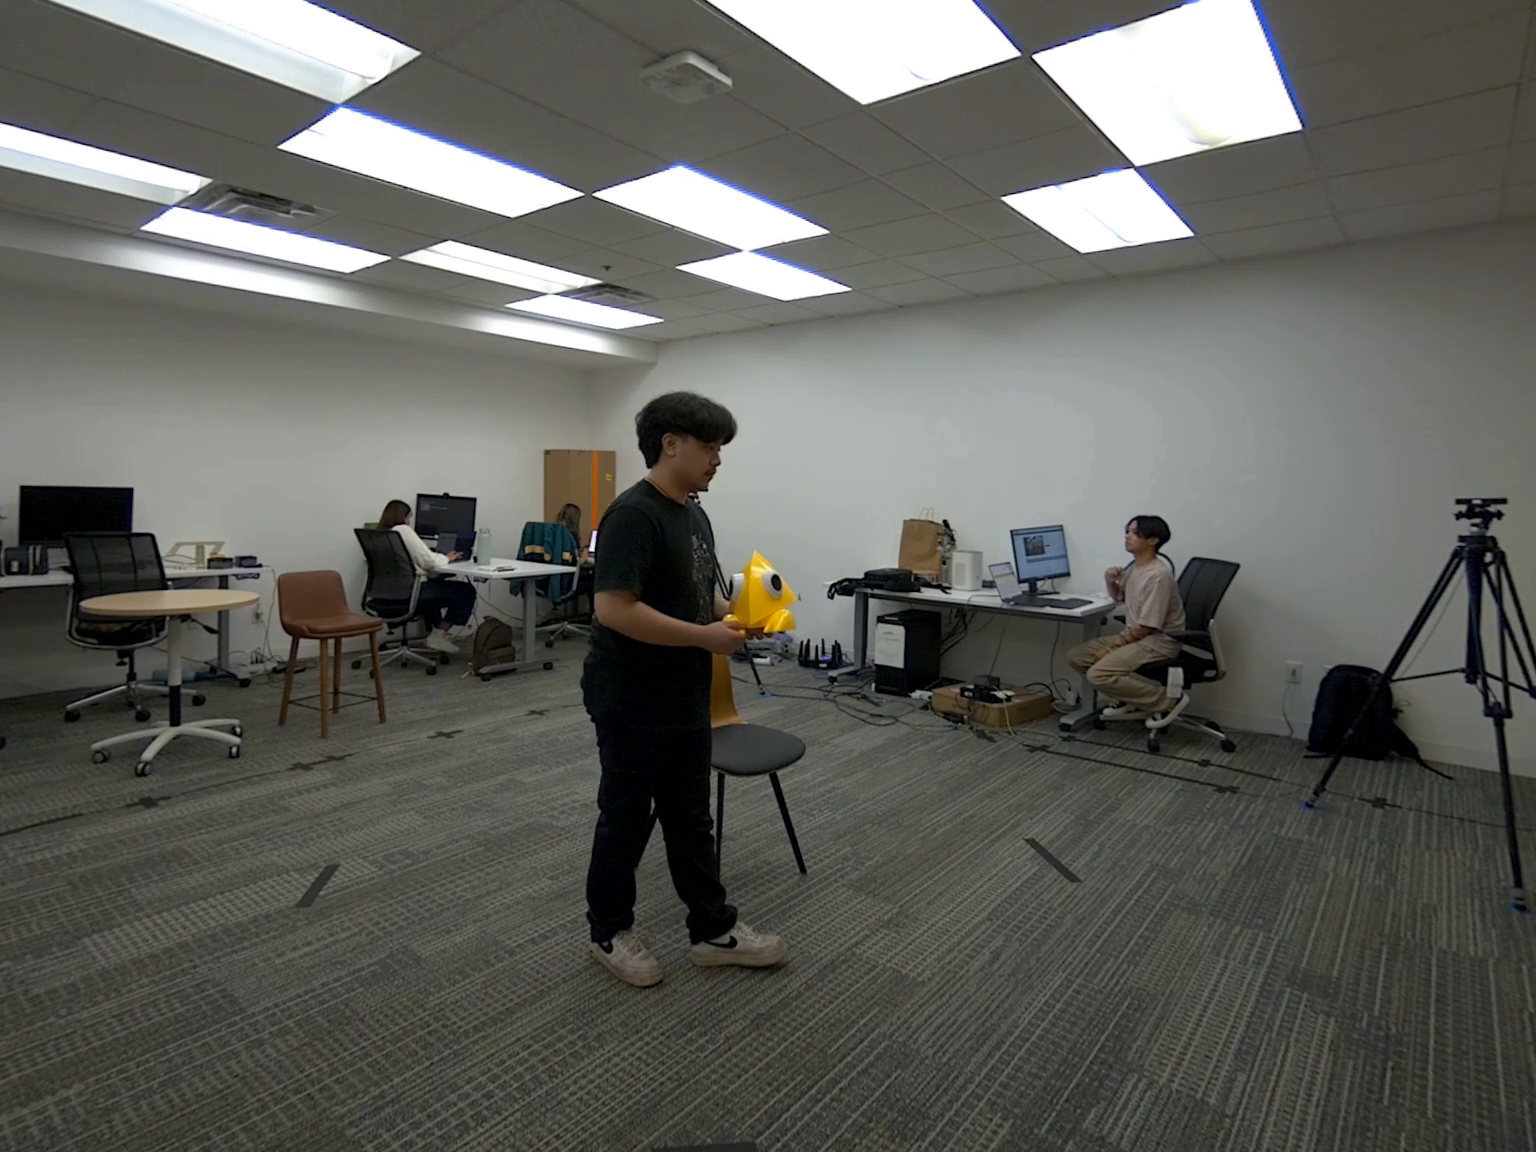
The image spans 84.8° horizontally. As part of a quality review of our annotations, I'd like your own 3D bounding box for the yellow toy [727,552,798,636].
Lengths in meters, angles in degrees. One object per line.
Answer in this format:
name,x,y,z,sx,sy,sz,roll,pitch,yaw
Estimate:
yellow toy,-0.042,0.044,2.341,0.207,0.232,0.190,-6,-4,13
